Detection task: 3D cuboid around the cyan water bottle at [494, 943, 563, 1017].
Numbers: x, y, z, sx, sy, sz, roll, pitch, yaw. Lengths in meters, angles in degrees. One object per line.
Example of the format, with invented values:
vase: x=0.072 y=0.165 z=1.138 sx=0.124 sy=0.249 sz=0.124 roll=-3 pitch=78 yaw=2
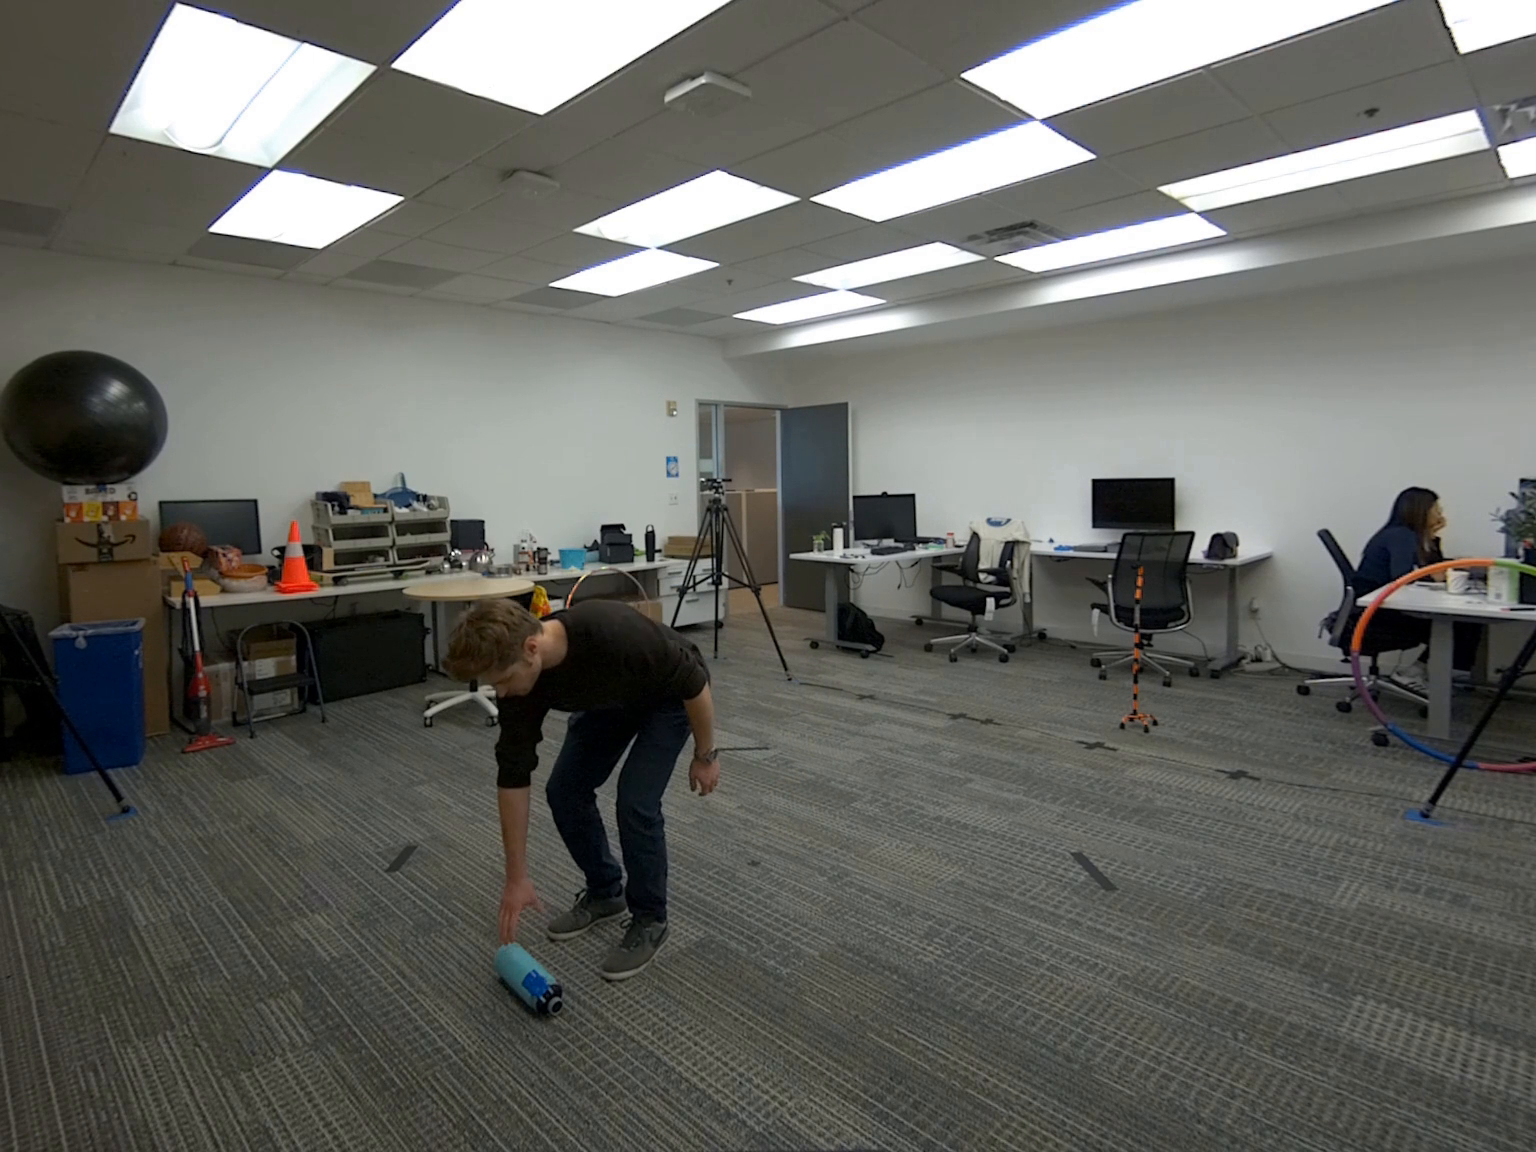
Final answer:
cyan water bottle: x=-0.649 y=1.103 z=2.333 sx=0.090 sy=0.092 sz=0.292 roll=-5 pitch=8 yaw=-40
